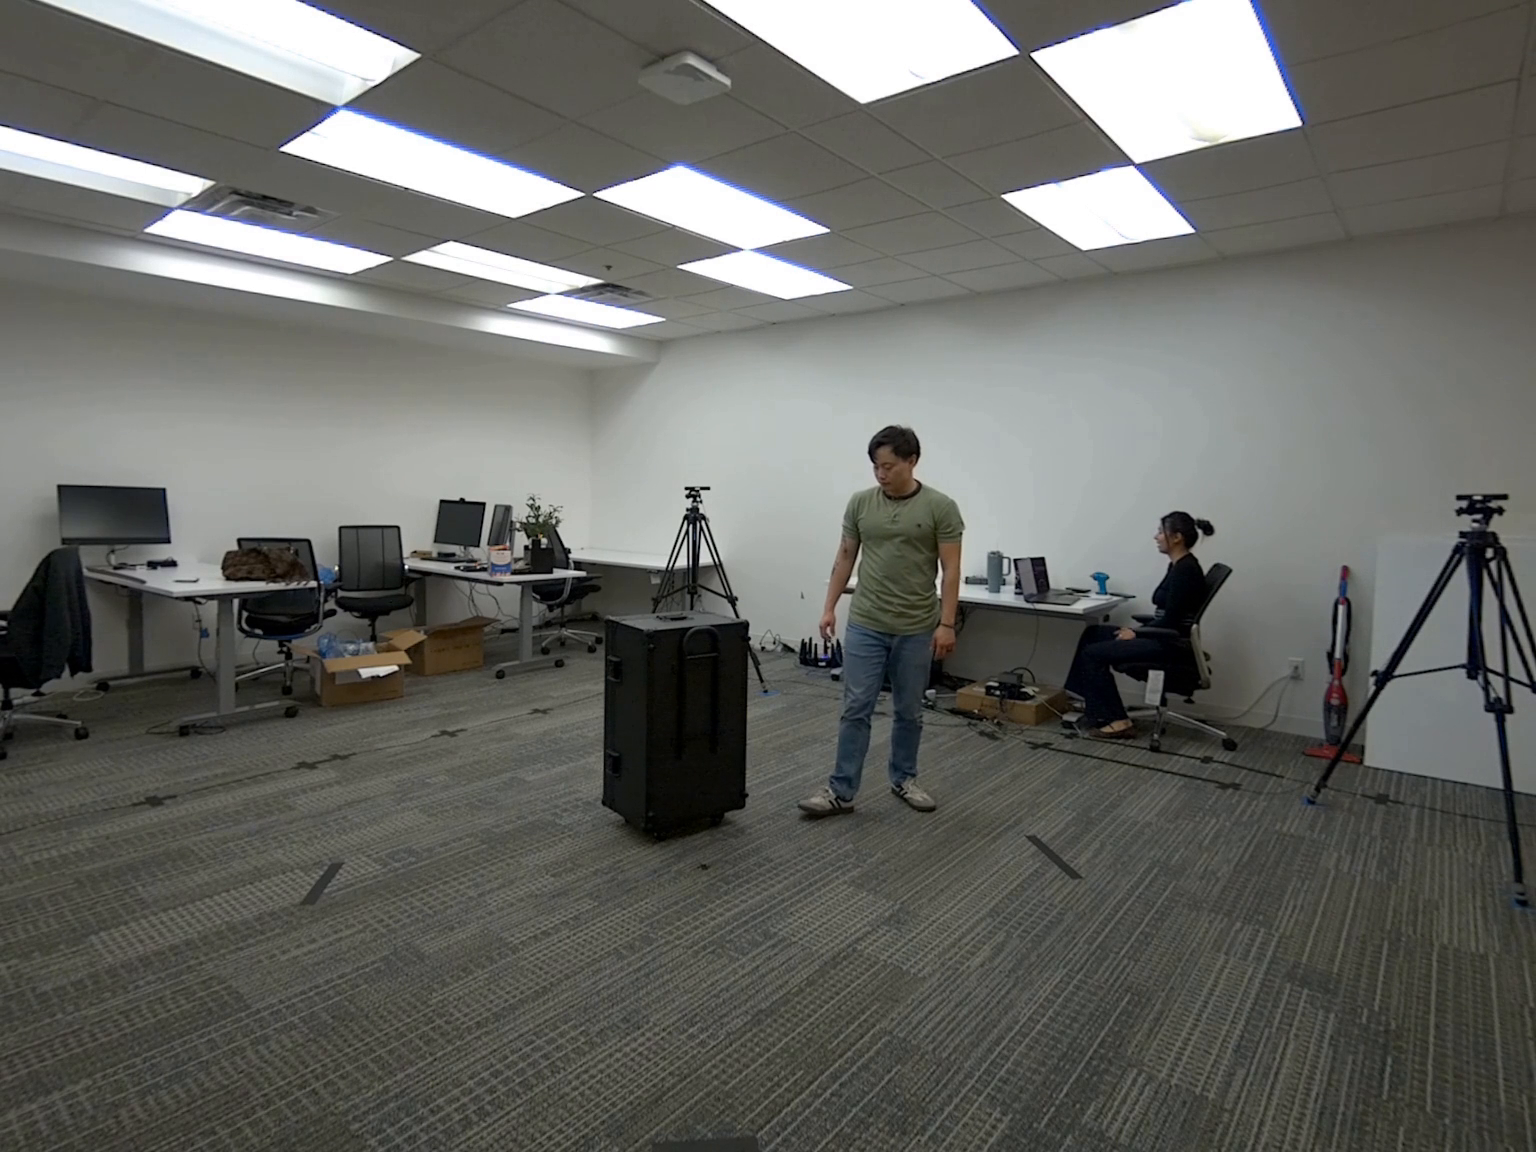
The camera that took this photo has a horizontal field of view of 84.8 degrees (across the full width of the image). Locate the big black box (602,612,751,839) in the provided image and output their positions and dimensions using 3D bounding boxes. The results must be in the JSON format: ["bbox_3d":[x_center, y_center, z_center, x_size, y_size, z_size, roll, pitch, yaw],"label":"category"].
[{"bbox_3d":[-0.384,0.600,3.496,0.506,0.858,0.410,-2,5,-37],"label":"big black box"}]
